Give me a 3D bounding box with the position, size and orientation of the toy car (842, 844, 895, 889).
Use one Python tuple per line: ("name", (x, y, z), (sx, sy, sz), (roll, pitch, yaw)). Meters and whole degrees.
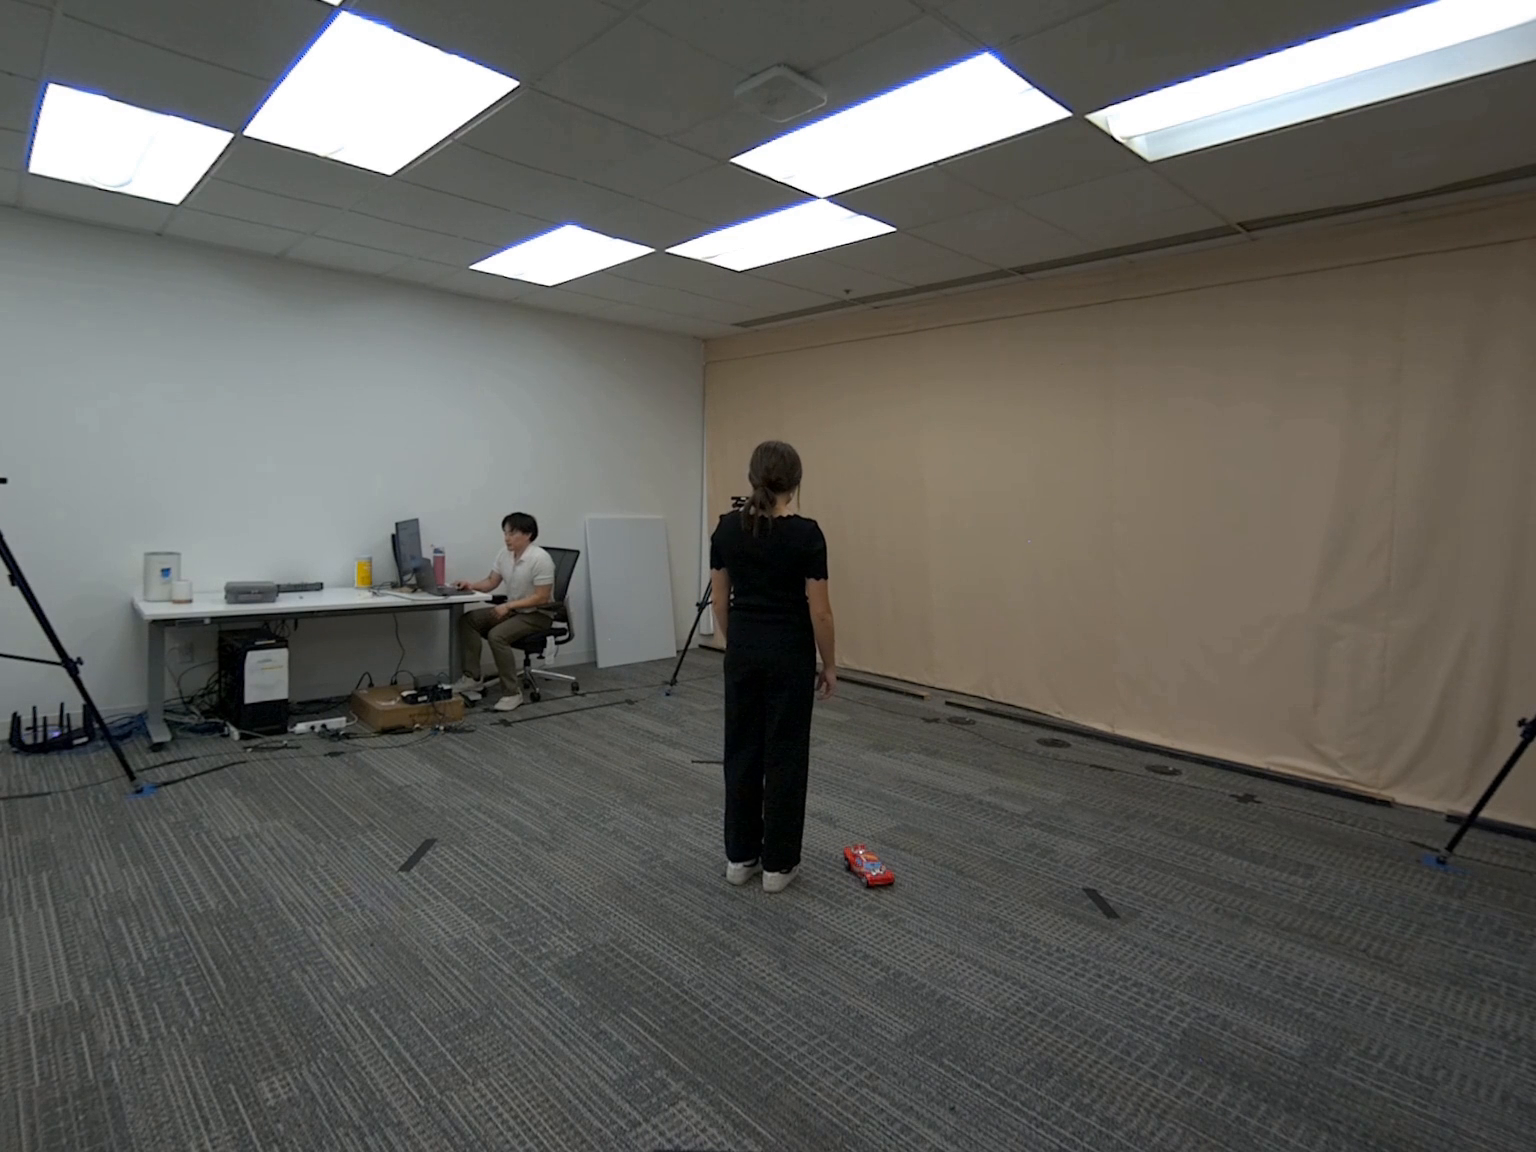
("toy car", (0.358, 1.081, 3.137), (0.128, 0.082, 0.260), (0, 16, -19))
